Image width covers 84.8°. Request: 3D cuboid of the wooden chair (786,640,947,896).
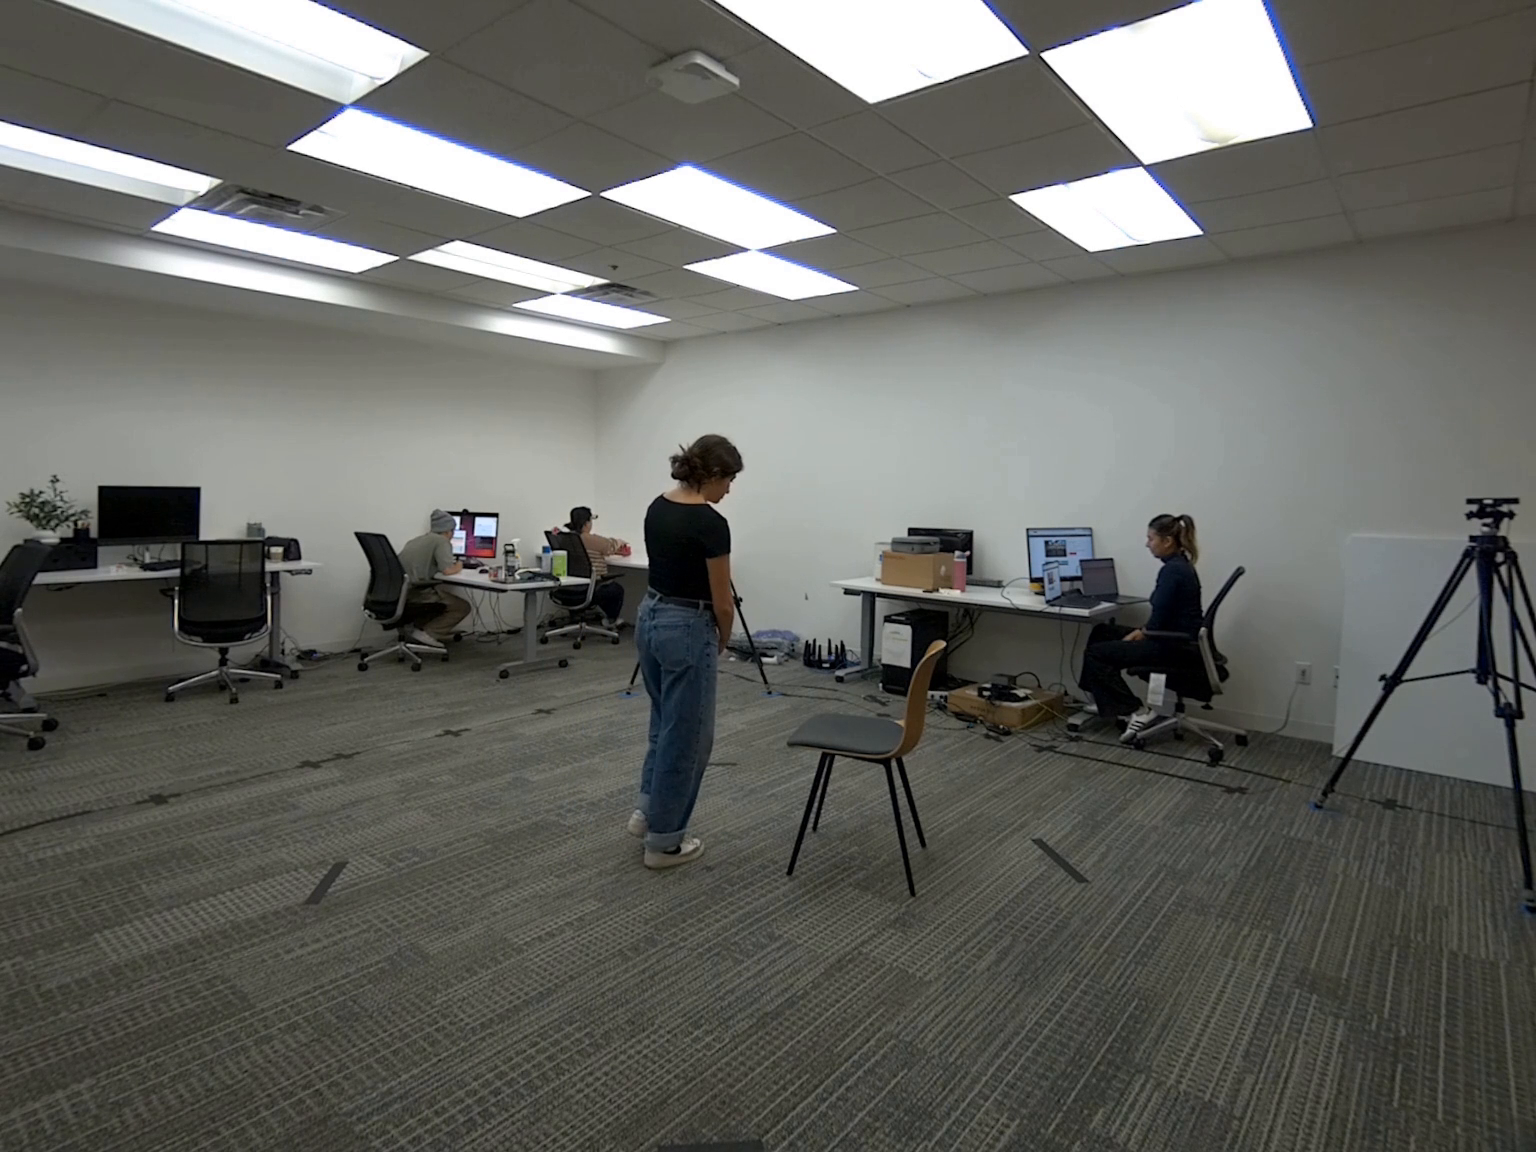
[{"bbox_3d":[0.338,0.647,3.177,0.534,0.874,0.470,7,5,17],"label":"wooden chair"}]
